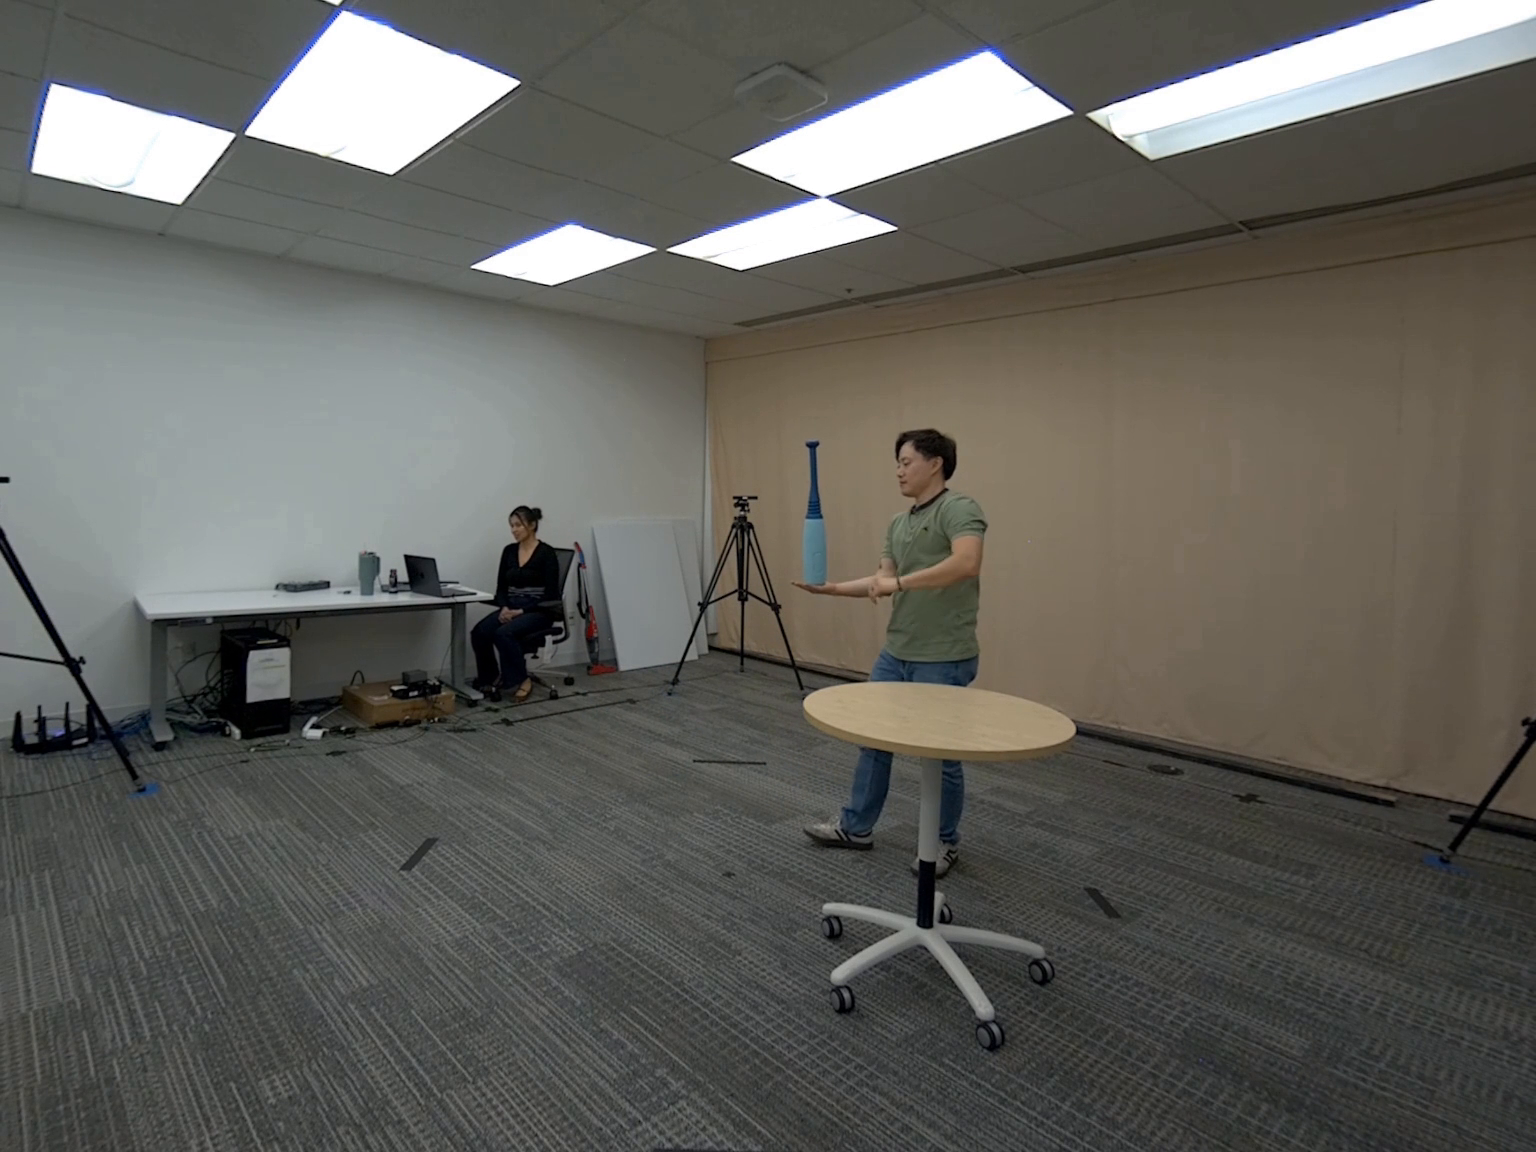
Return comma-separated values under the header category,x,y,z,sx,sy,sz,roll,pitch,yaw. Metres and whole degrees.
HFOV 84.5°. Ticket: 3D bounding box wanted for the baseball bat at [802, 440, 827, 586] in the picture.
category,x,y,z,sx,sy,sz,roll,pitch,yaw
baseball bat,0.171,-0.236,3.146,0.089,0.541,0.089,-2,4,-1
